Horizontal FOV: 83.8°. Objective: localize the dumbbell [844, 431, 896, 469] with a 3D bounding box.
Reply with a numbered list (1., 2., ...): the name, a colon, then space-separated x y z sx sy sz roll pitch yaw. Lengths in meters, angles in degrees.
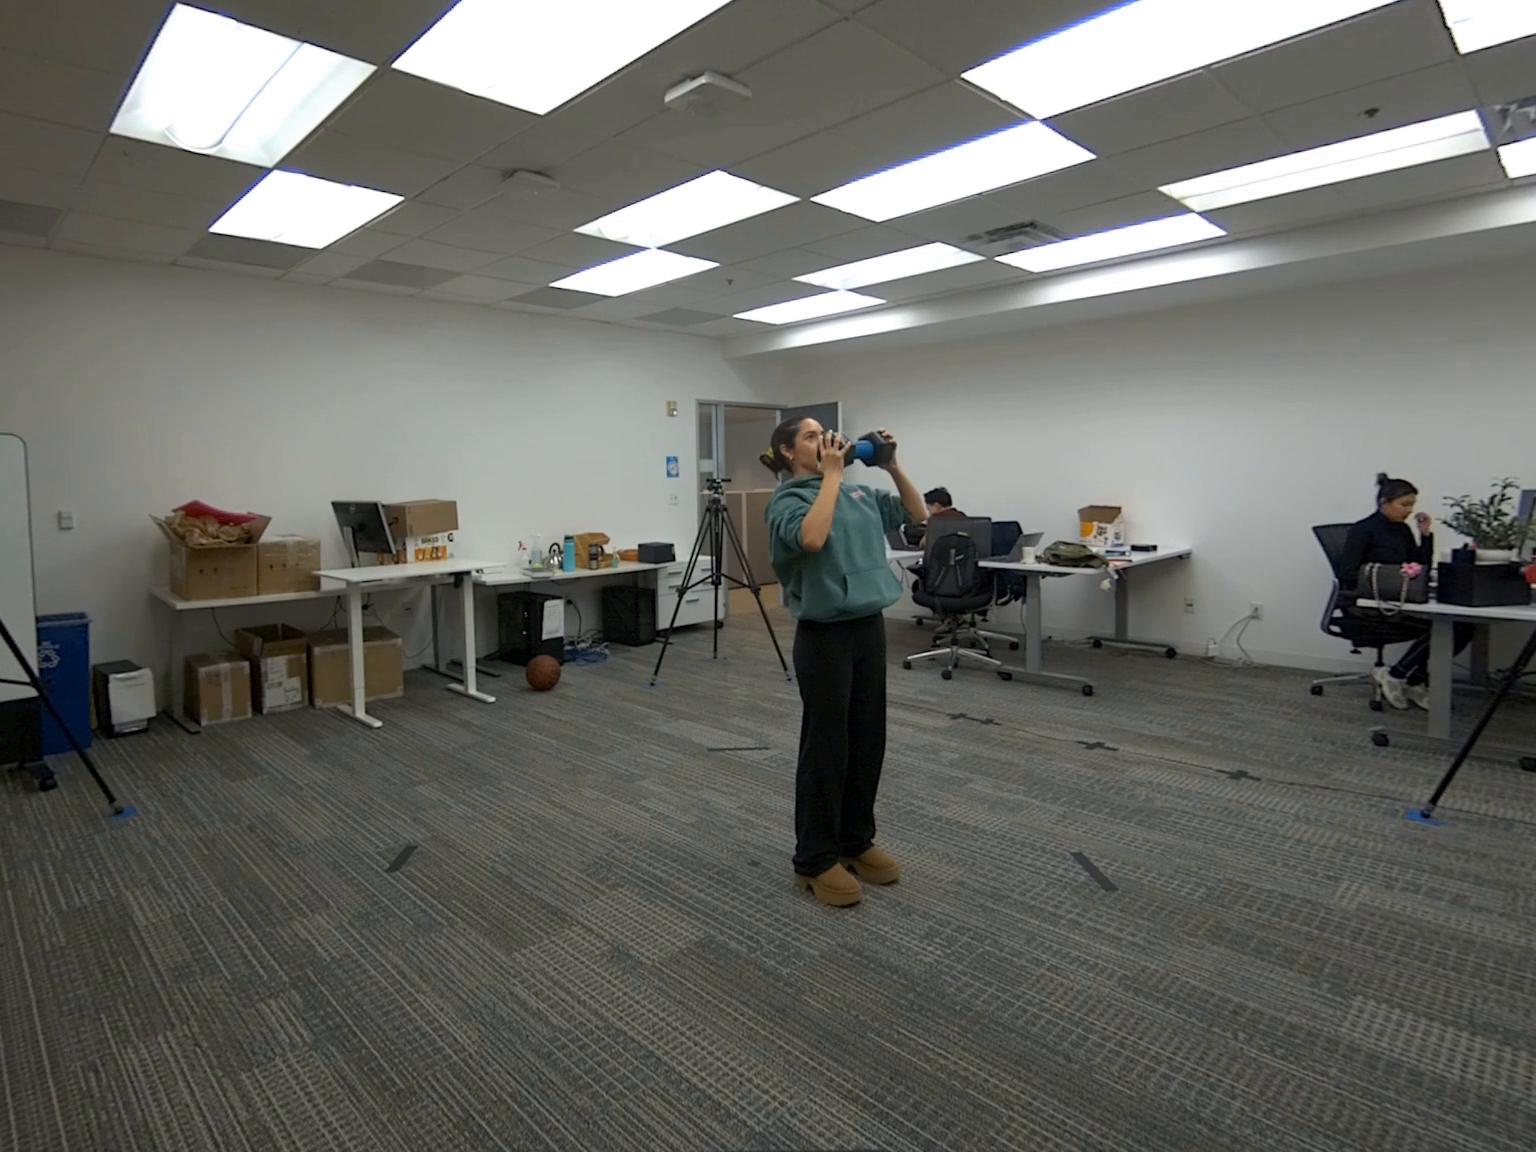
1. dumbbell: 0.288 -0.419 2.819 0.113 0.121 0.287 24 24 37
